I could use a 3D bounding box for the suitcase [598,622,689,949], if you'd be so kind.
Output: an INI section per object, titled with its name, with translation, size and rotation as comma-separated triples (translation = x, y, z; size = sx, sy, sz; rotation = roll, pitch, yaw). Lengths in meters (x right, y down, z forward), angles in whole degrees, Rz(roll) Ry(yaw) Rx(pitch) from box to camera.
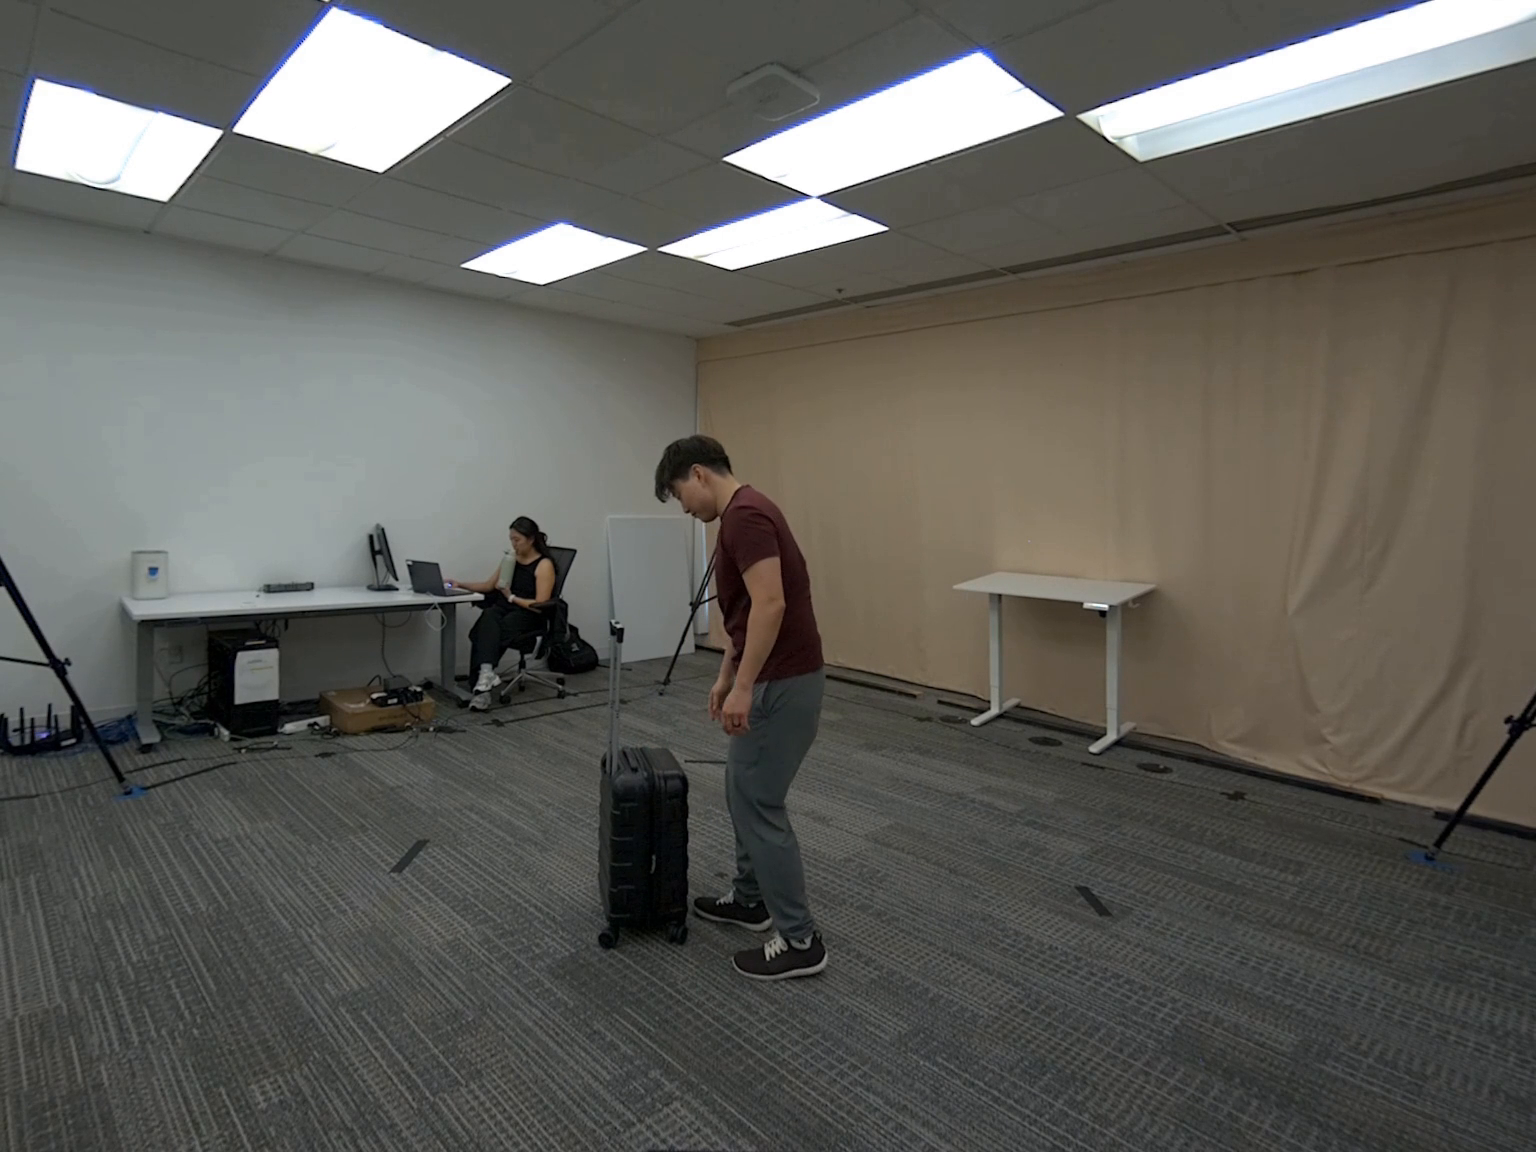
[suitcase]
translation = -0.418, 0.659, 2.741
size = 0.255, 0.976, 0.388
rotation = 0, 3, -11
